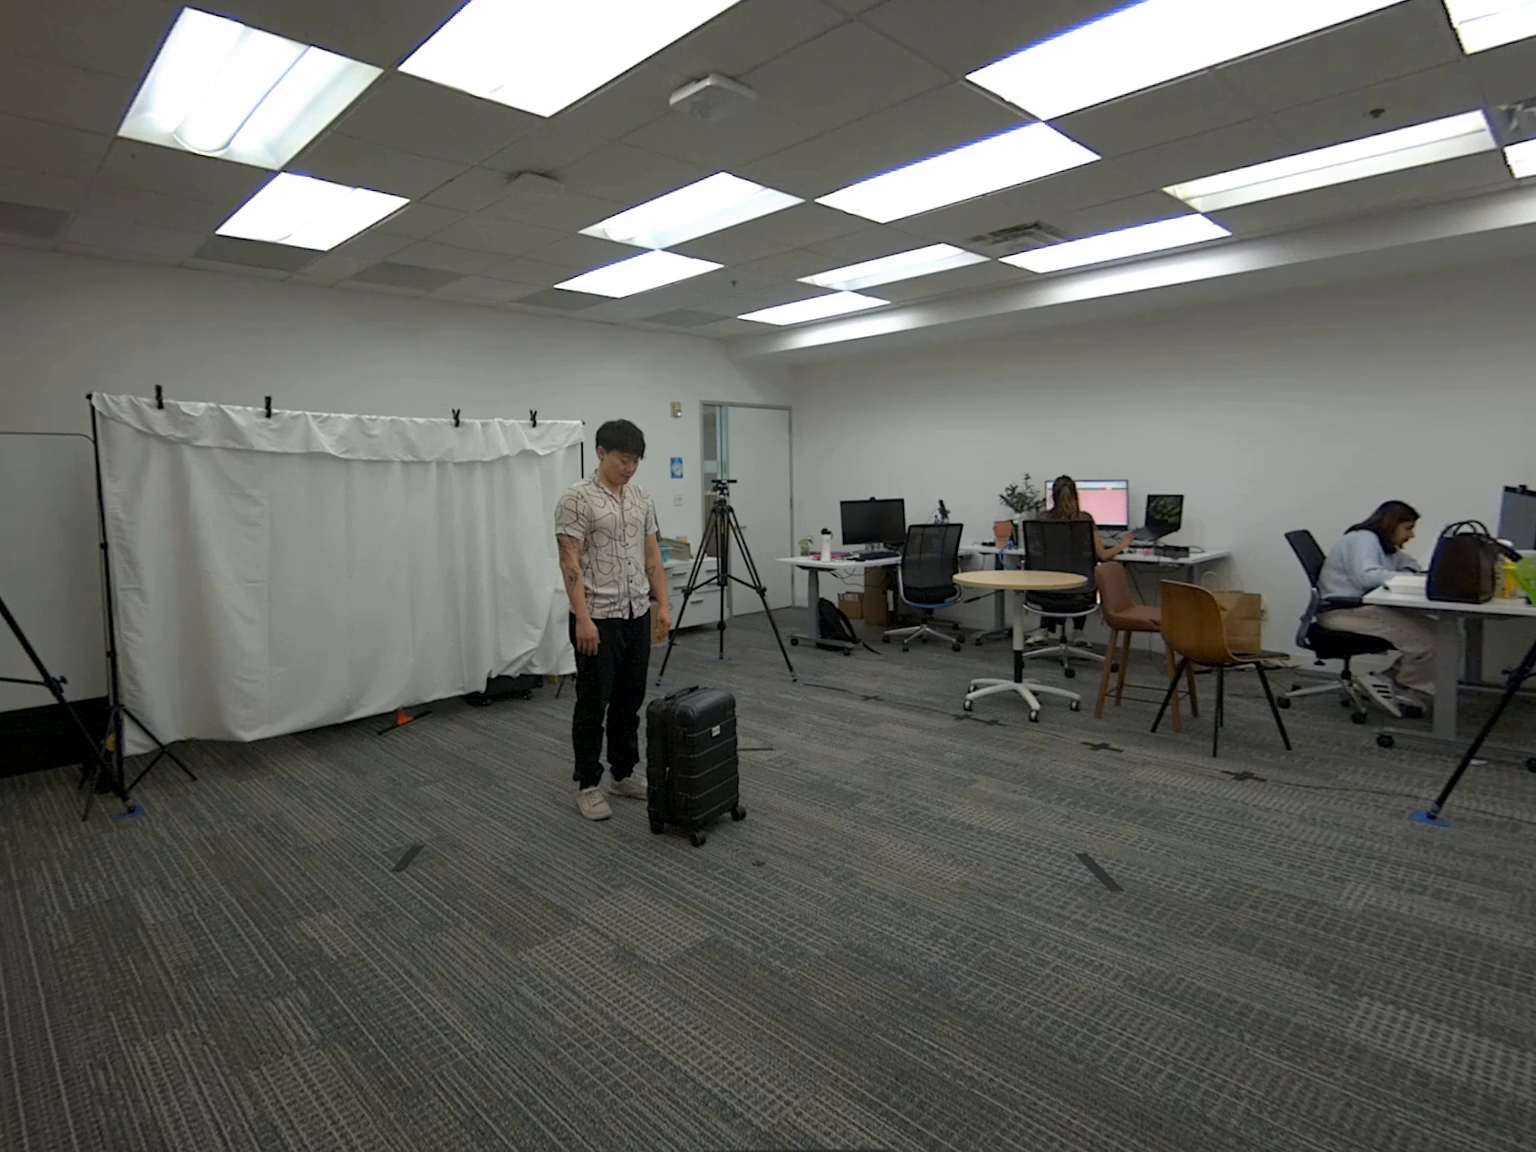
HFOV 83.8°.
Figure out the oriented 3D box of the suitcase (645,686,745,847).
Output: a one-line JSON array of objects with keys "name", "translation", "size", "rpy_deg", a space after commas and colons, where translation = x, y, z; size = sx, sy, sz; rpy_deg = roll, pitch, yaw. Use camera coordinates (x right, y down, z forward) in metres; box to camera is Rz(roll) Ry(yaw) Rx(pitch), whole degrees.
[{"name": "suitcase", "translation": [-0.299, 0.737, 3.455], "size": [0.255, 0.548, 0.366], "rpy_deg": [0, 3, 32]}]
